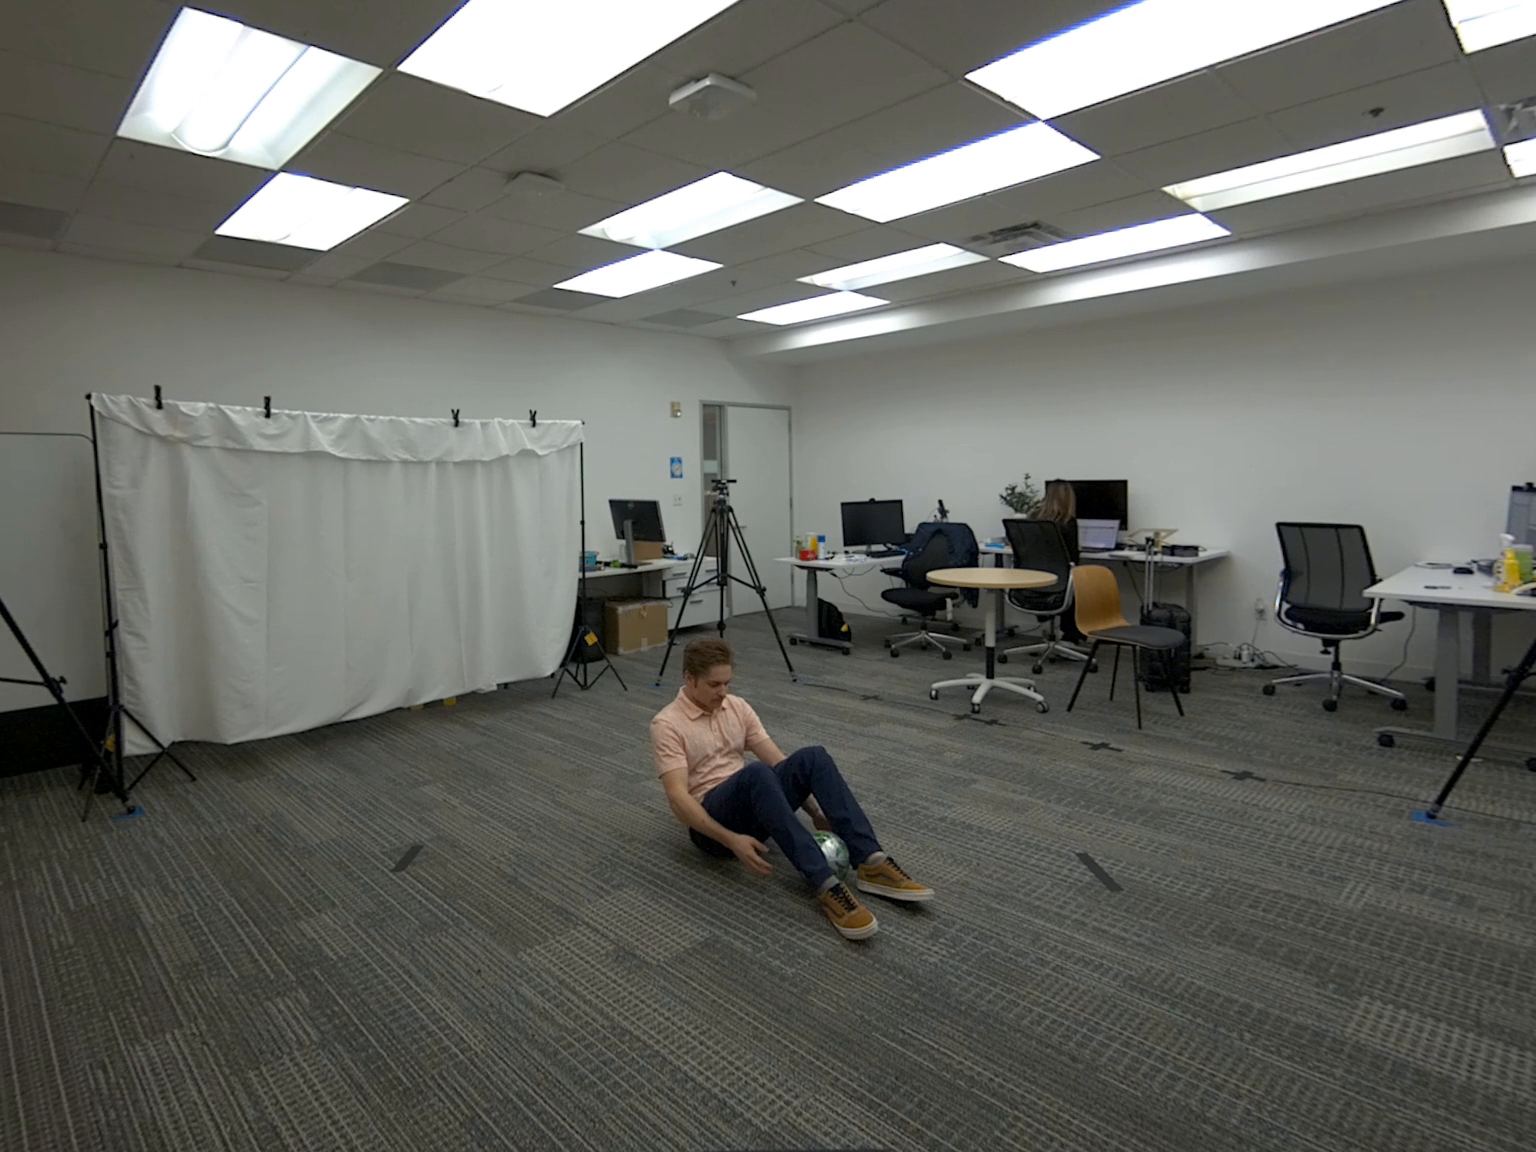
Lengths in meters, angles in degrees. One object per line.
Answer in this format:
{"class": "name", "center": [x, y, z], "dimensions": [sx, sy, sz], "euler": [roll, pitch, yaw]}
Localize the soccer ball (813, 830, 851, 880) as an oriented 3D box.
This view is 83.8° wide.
{"class": "soccer ball", "center": [0.176, 0.956, 2.926], "dimensions": [0.187, 0.187, 0.188], "euler": [-1, 5, -2]}
